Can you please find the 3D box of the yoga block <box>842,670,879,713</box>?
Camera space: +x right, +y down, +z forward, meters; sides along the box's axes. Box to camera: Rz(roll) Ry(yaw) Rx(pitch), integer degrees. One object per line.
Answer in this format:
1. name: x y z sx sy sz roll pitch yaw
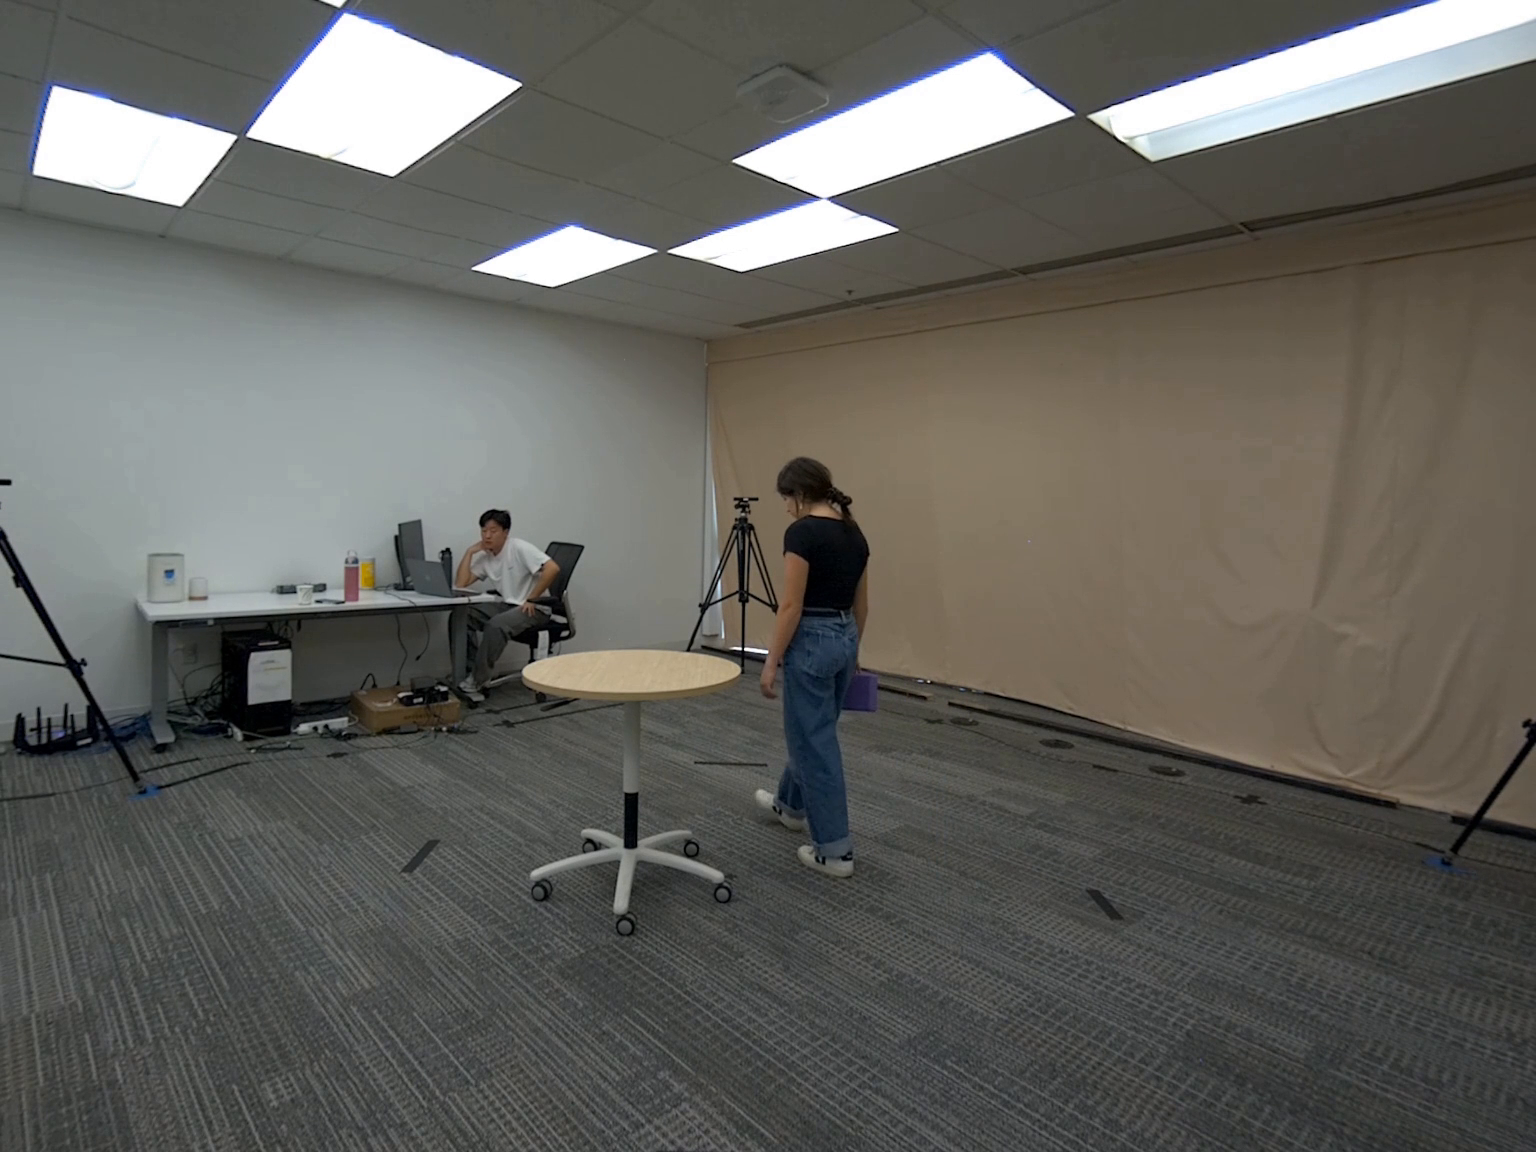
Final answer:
1. yoga block: 0.326 0.475 3.462 0.234 0.150 0.074 -2 -8 29
